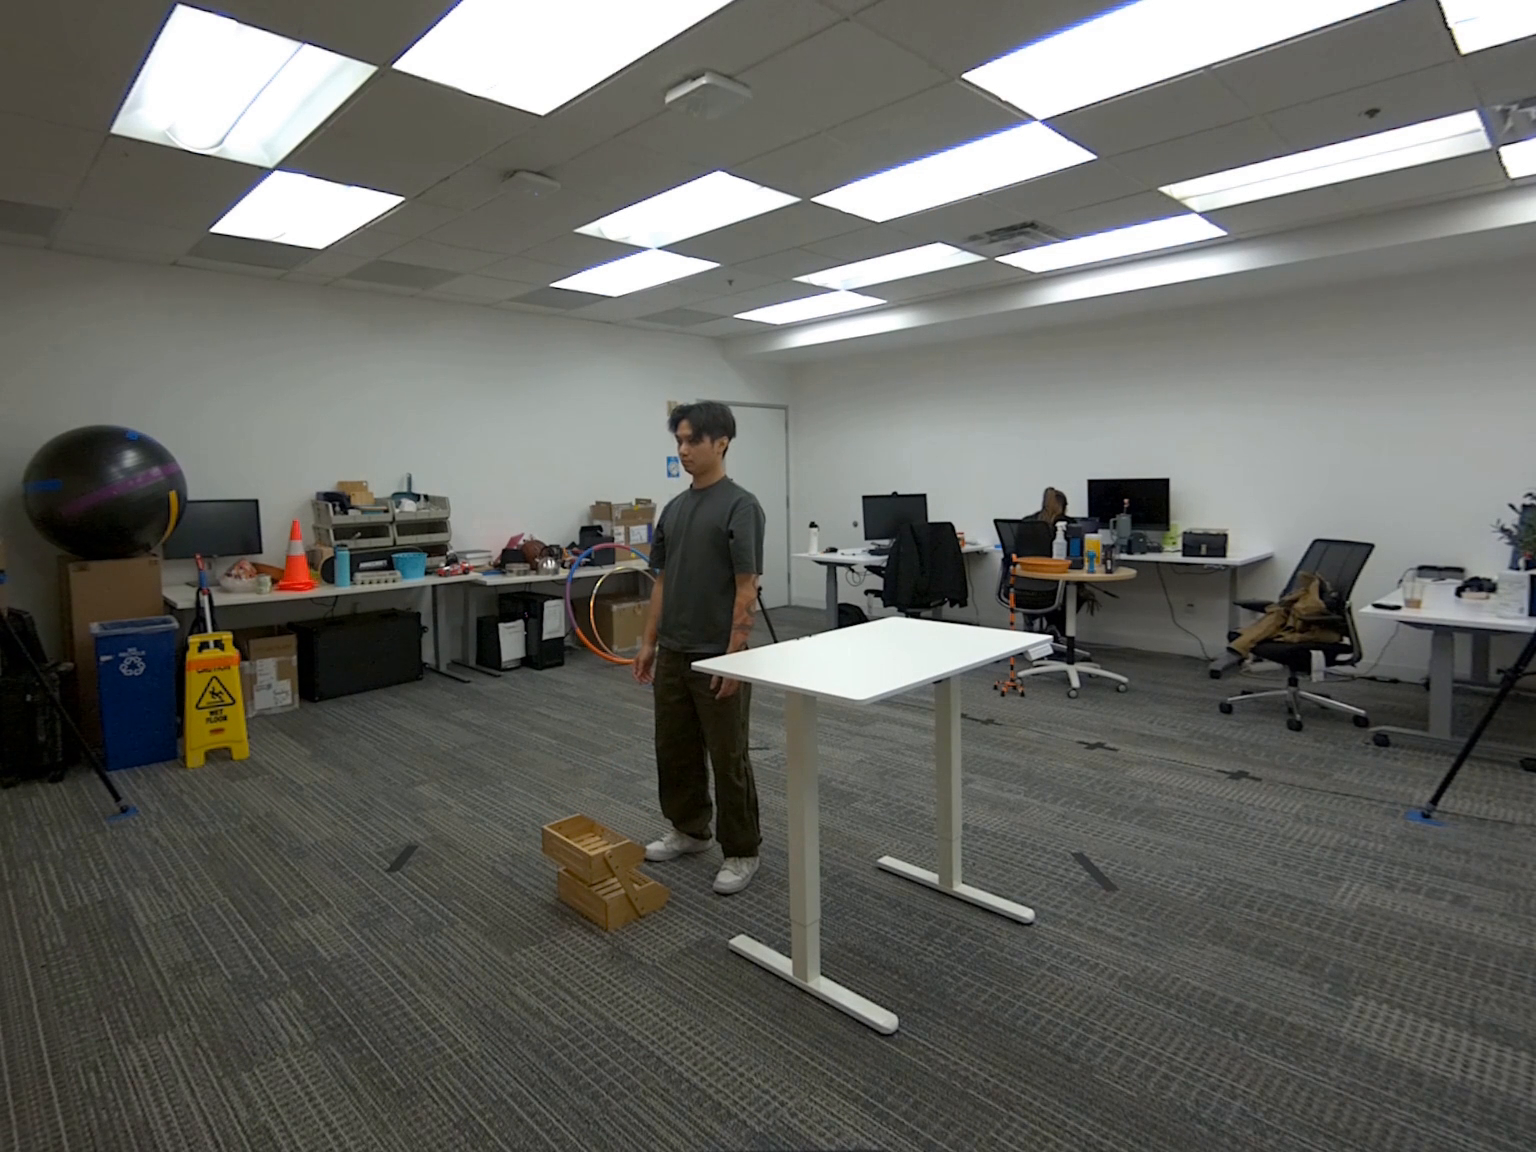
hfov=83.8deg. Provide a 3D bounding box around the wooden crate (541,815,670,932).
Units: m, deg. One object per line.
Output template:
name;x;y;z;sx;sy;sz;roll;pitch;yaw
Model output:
wooden crate;-0.533;0.952;2.826;0.294;0.272;0.335;-7;8;-43
